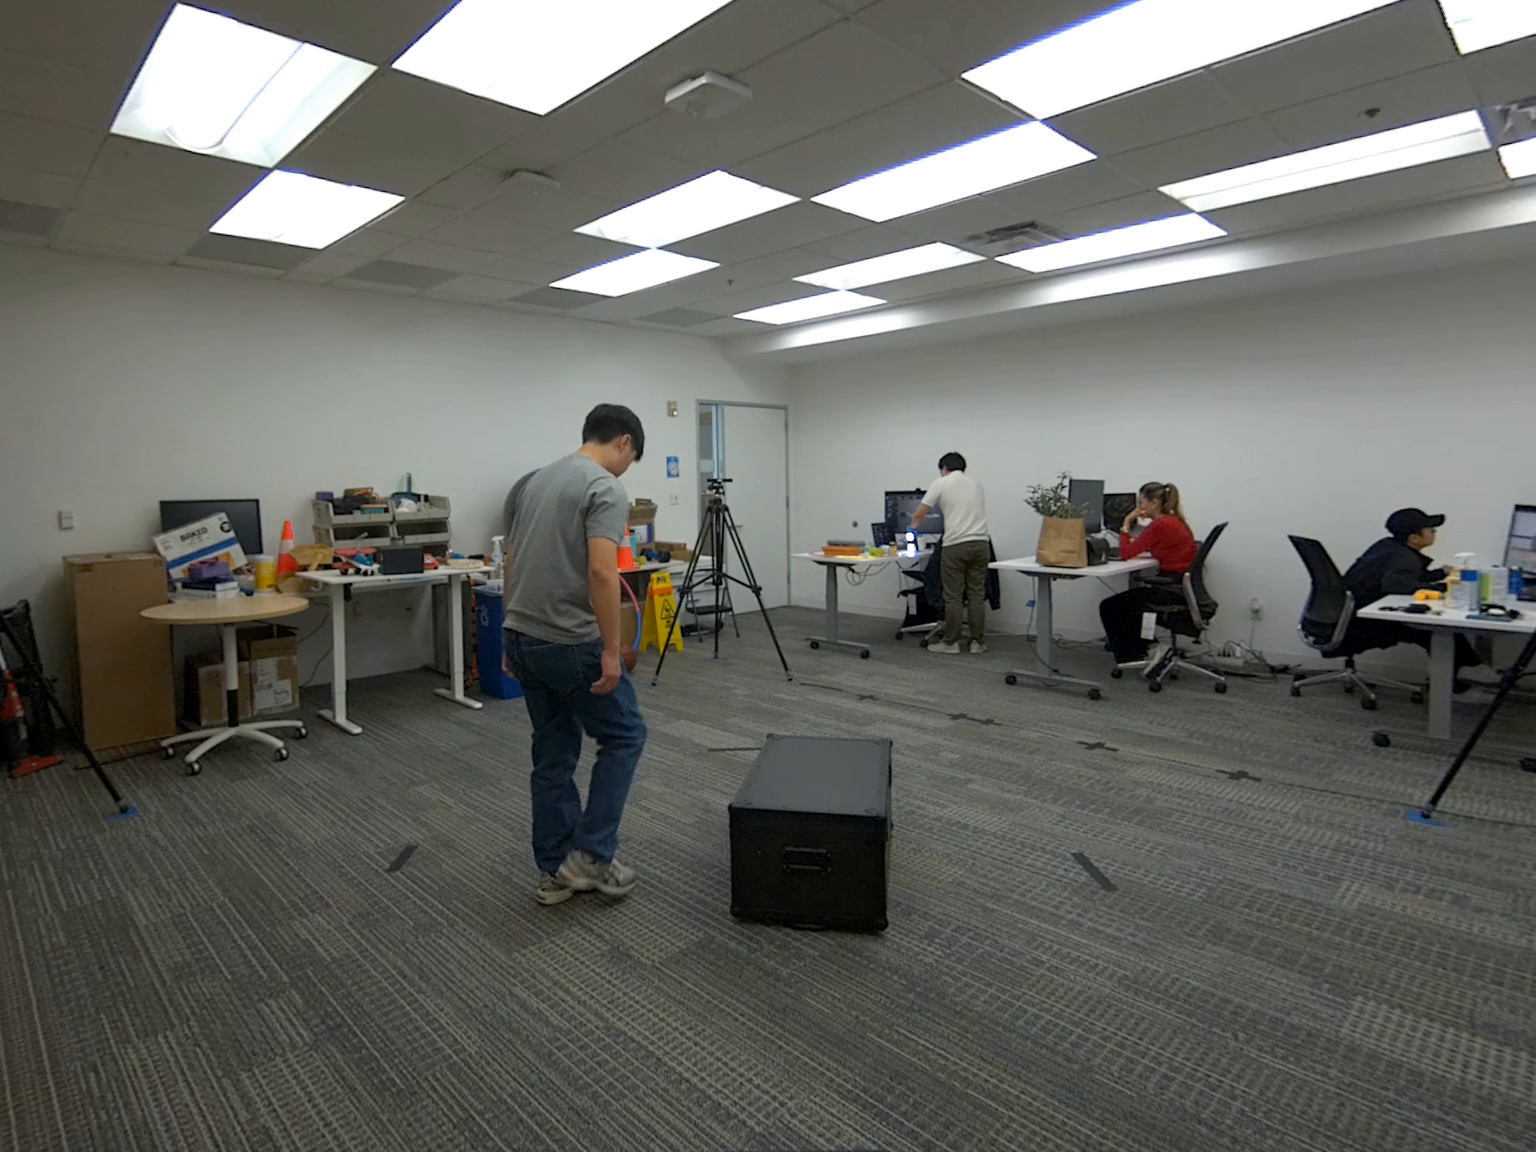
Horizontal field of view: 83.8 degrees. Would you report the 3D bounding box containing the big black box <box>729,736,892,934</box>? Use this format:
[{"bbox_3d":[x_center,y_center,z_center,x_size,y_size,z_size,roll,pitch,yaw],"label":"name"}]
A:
[{"bbox_3d":[0.191,0.857,3.037,0.527,0.394,0.856,-1,6,10],"label":"big black box"}]
